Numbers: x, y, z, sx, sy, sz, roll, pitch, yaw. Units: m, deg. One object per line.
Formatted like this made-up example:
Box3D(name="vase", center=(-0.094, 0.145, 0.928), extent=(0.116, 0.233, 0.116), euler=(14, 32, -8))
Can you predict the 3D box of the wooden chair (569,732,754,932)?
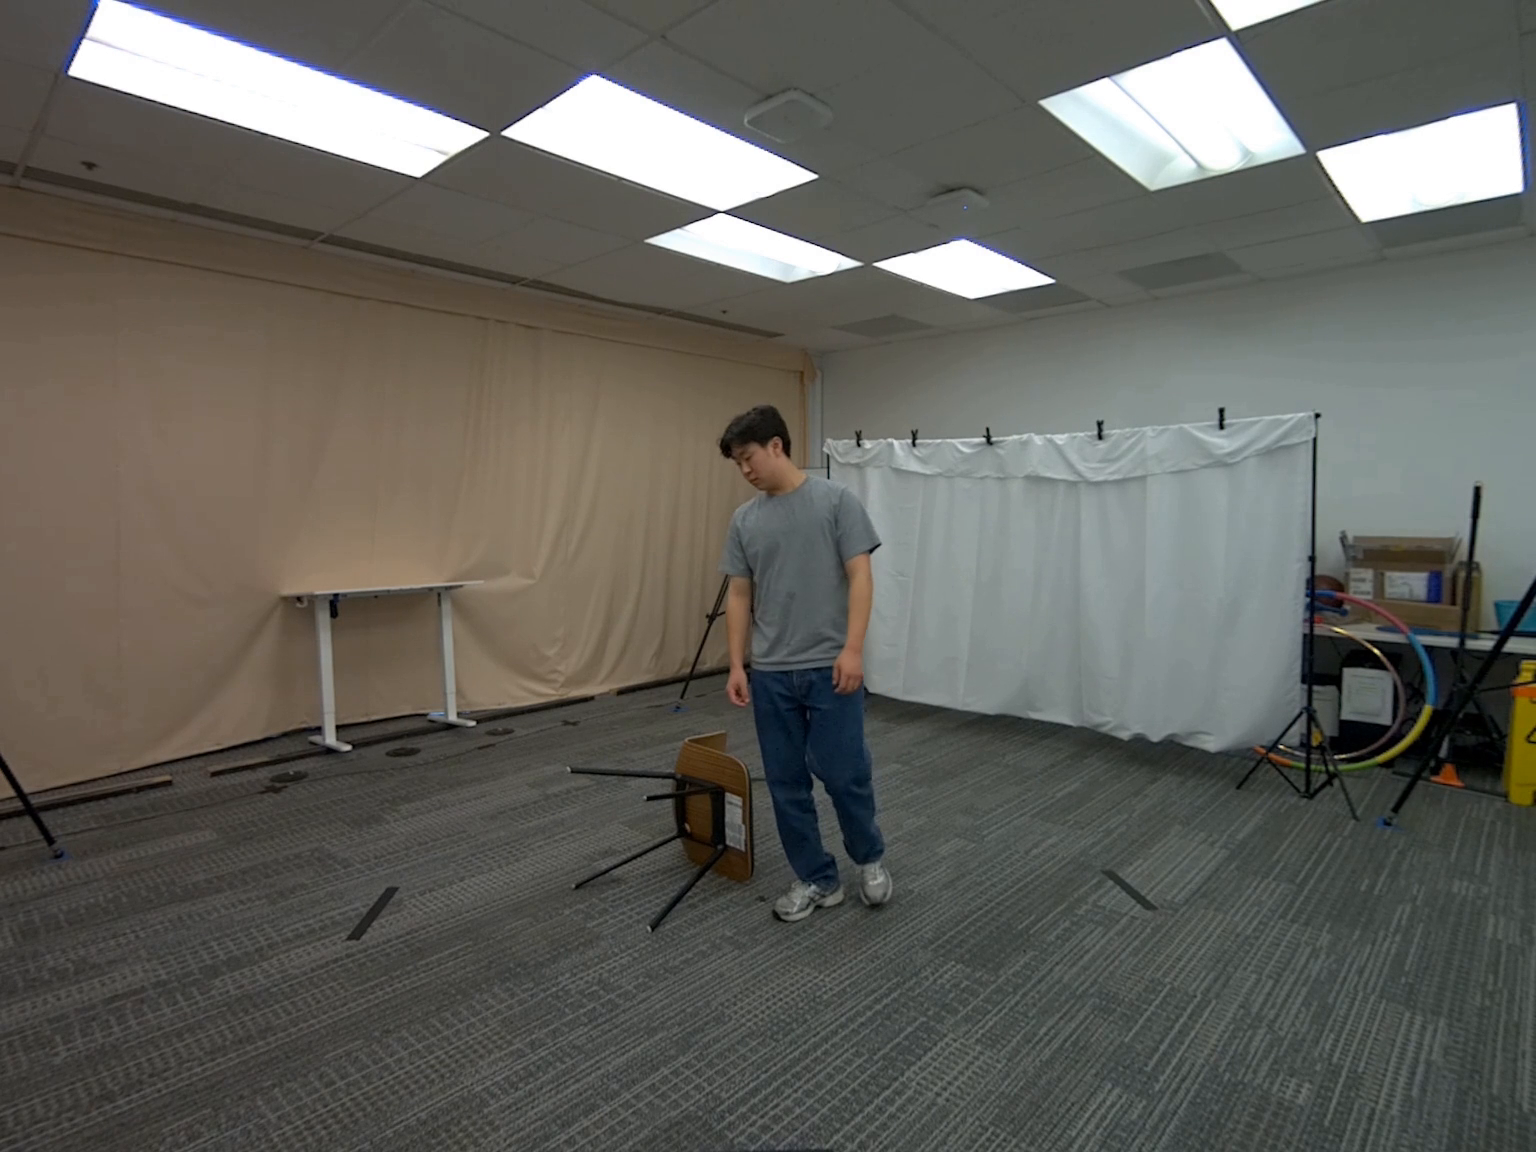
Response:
Box3D(name="wooden chair", center=(-0.261, 0.896, 3.183), extent=(0.540, 0.477, 0.851), euler=(2, 6, 39))
